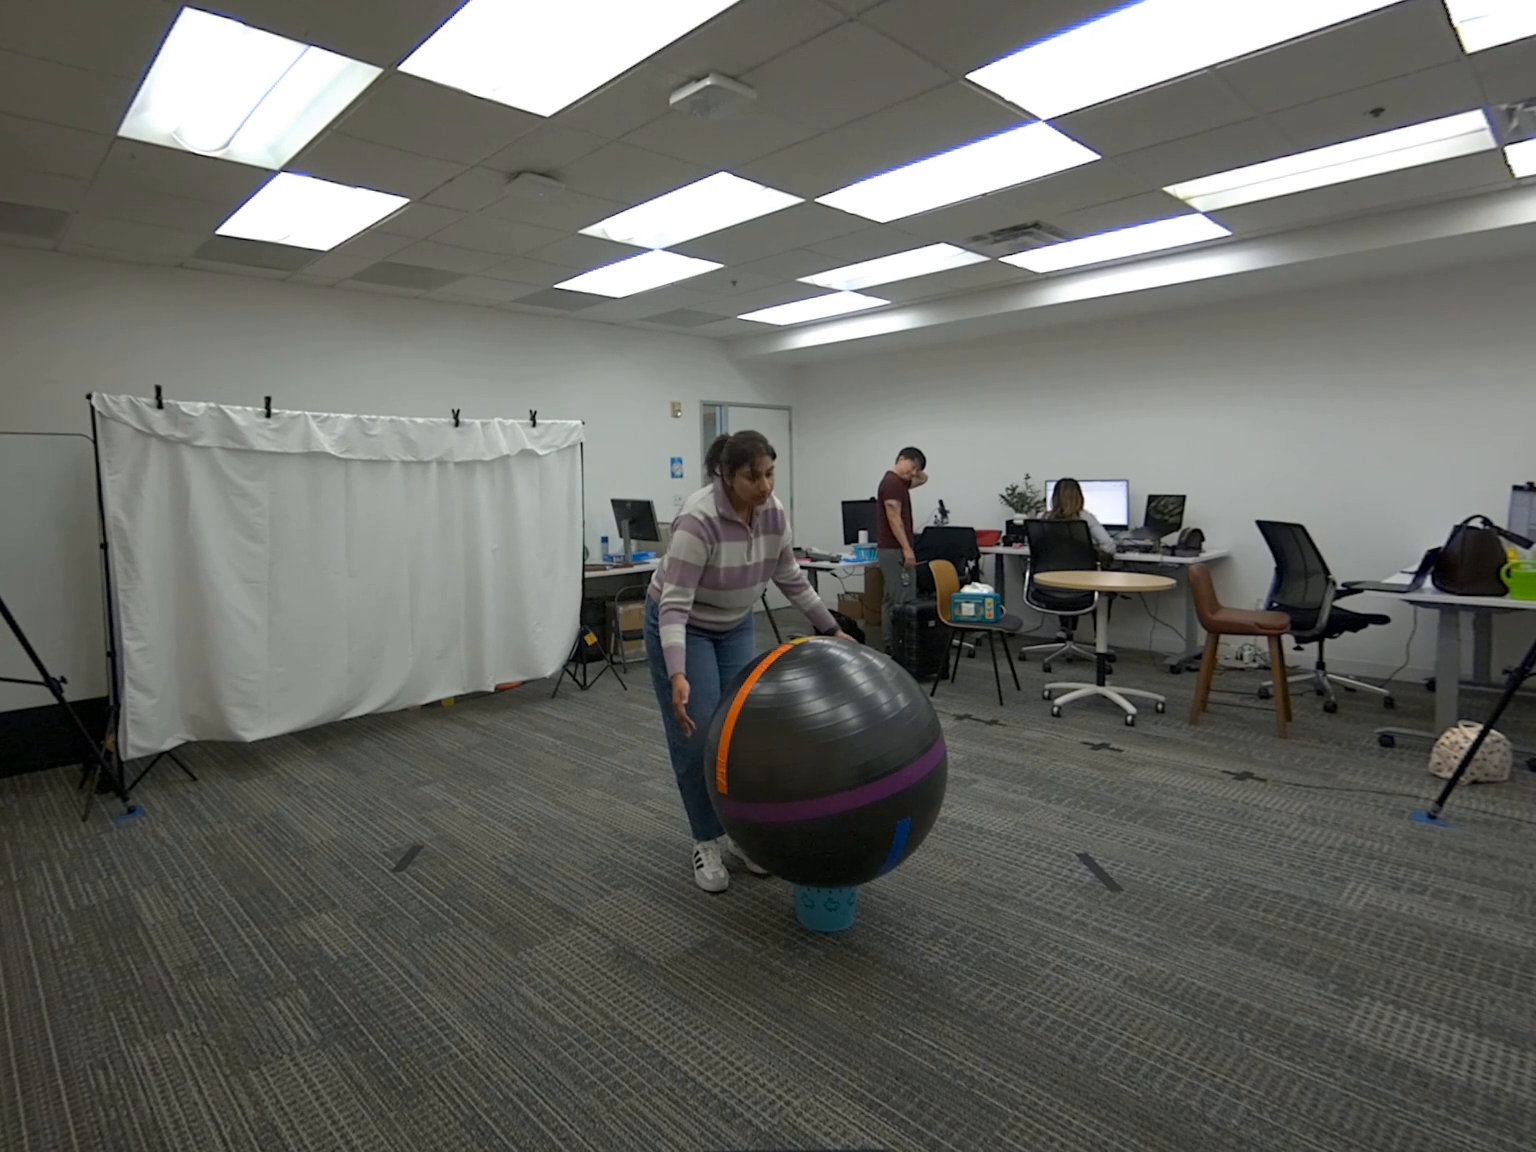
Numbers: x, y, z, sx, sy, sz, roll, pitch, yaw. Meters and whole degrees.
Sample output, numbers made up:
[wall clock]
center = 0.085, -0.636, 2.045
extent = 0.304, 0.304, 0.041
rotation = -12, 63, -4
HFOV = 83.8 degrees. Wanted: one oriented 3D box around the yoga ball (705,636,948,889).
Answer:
[yoga ball]
center = 0.186, 0.580, 2.674
extent = 0.757, 0.755, 0.762
rotation = -1, 5, -2
